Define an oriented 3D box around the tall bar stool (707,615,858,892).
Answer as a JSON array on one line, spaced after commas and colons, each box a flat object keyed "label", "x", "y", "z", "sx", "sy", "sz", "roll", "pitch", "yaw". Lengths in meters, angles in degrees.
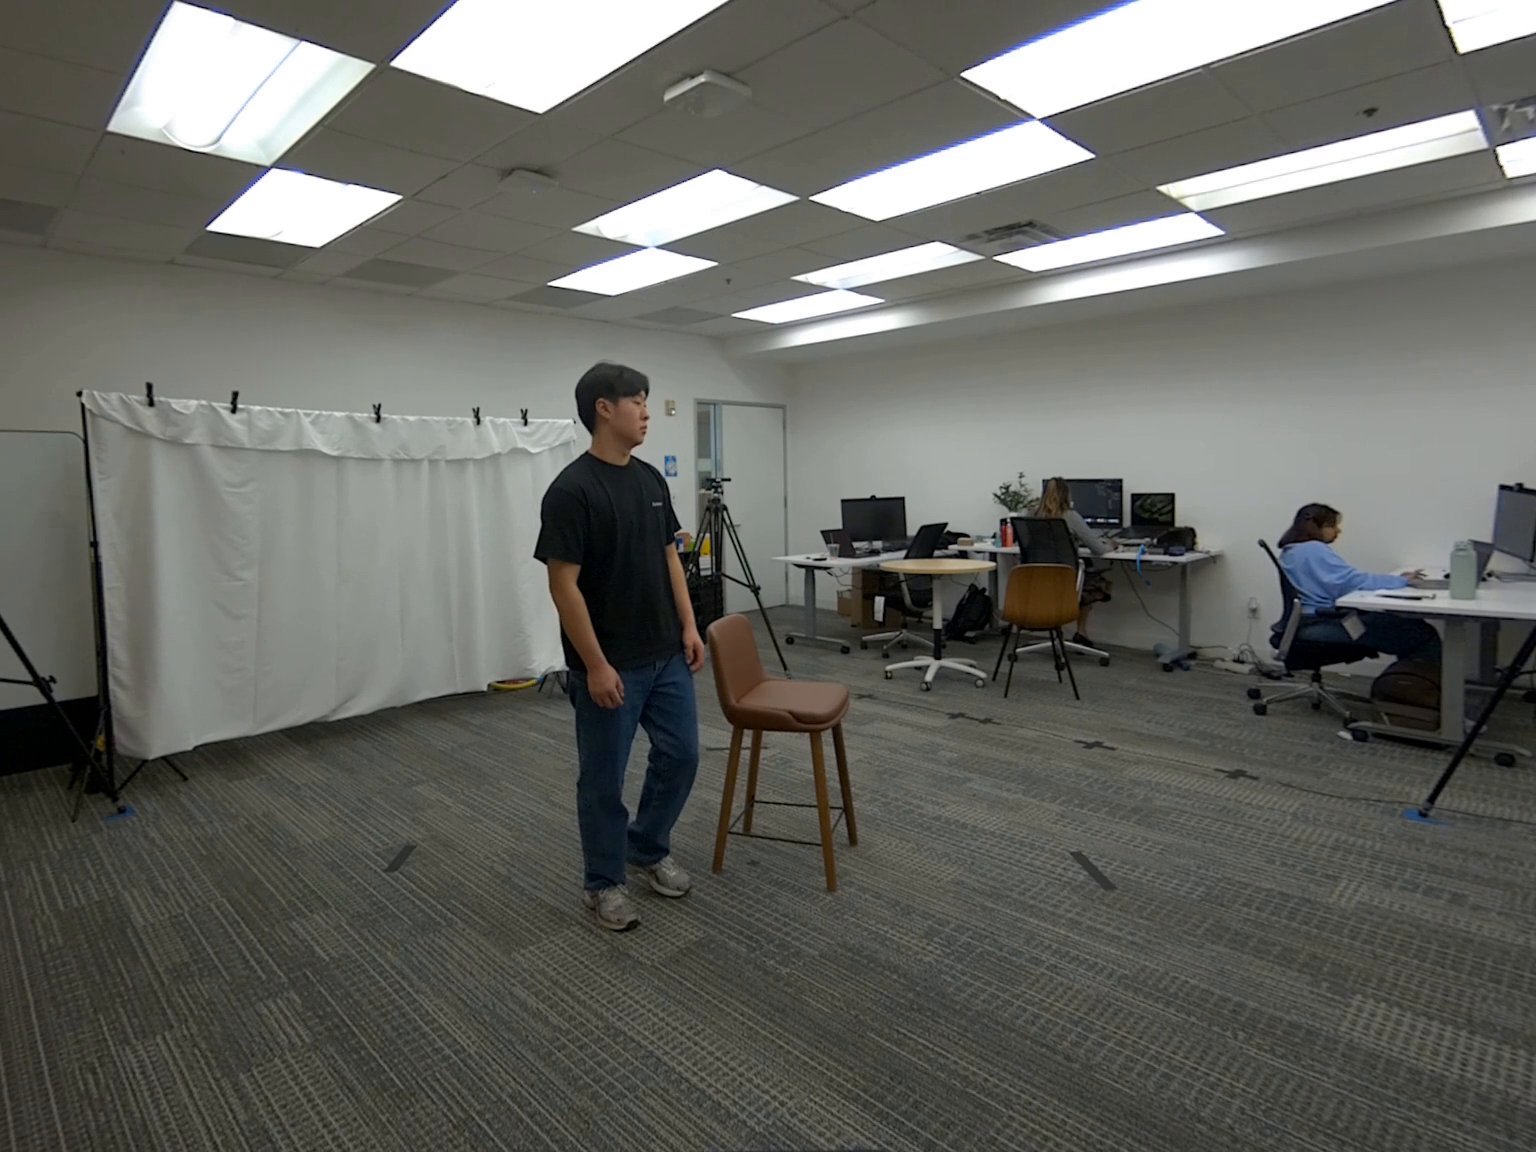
[{"label": "tall bar stool", "x": 0.060, "y": 0.605, "z": 3.118, "sx": 0.476, "sy": 0.887, "sz": 0.449, "roll": -1, "pitch": 3, "yaw": 20}]
